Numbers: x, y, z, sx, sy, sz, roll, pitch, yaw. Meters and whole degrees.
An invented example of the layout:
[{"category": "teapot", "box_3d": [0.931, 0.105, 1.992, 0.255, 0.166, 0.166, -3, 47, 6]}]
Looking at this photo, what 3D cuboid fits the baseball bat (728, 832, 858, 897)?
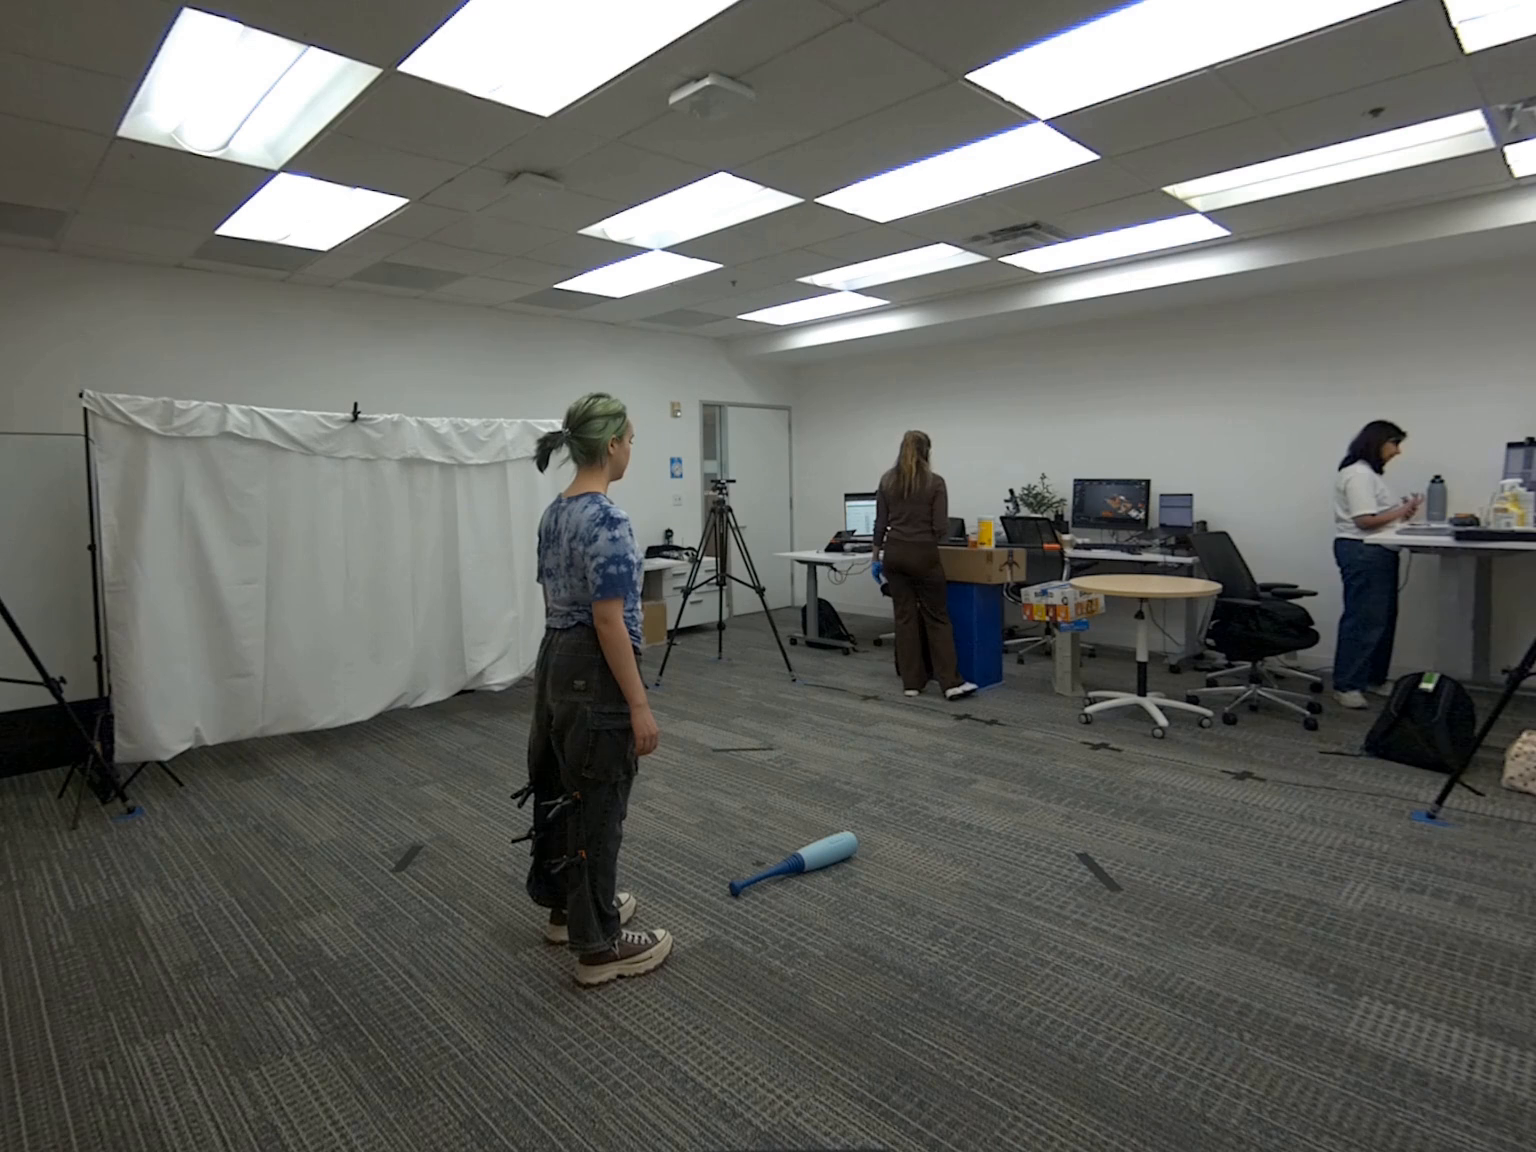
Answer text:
[{"category": "baseball bat", "box_3d": [0.096, 1.020, 3.013, 0.530, 0.088, 0.091, -9, 8, -33]}]
